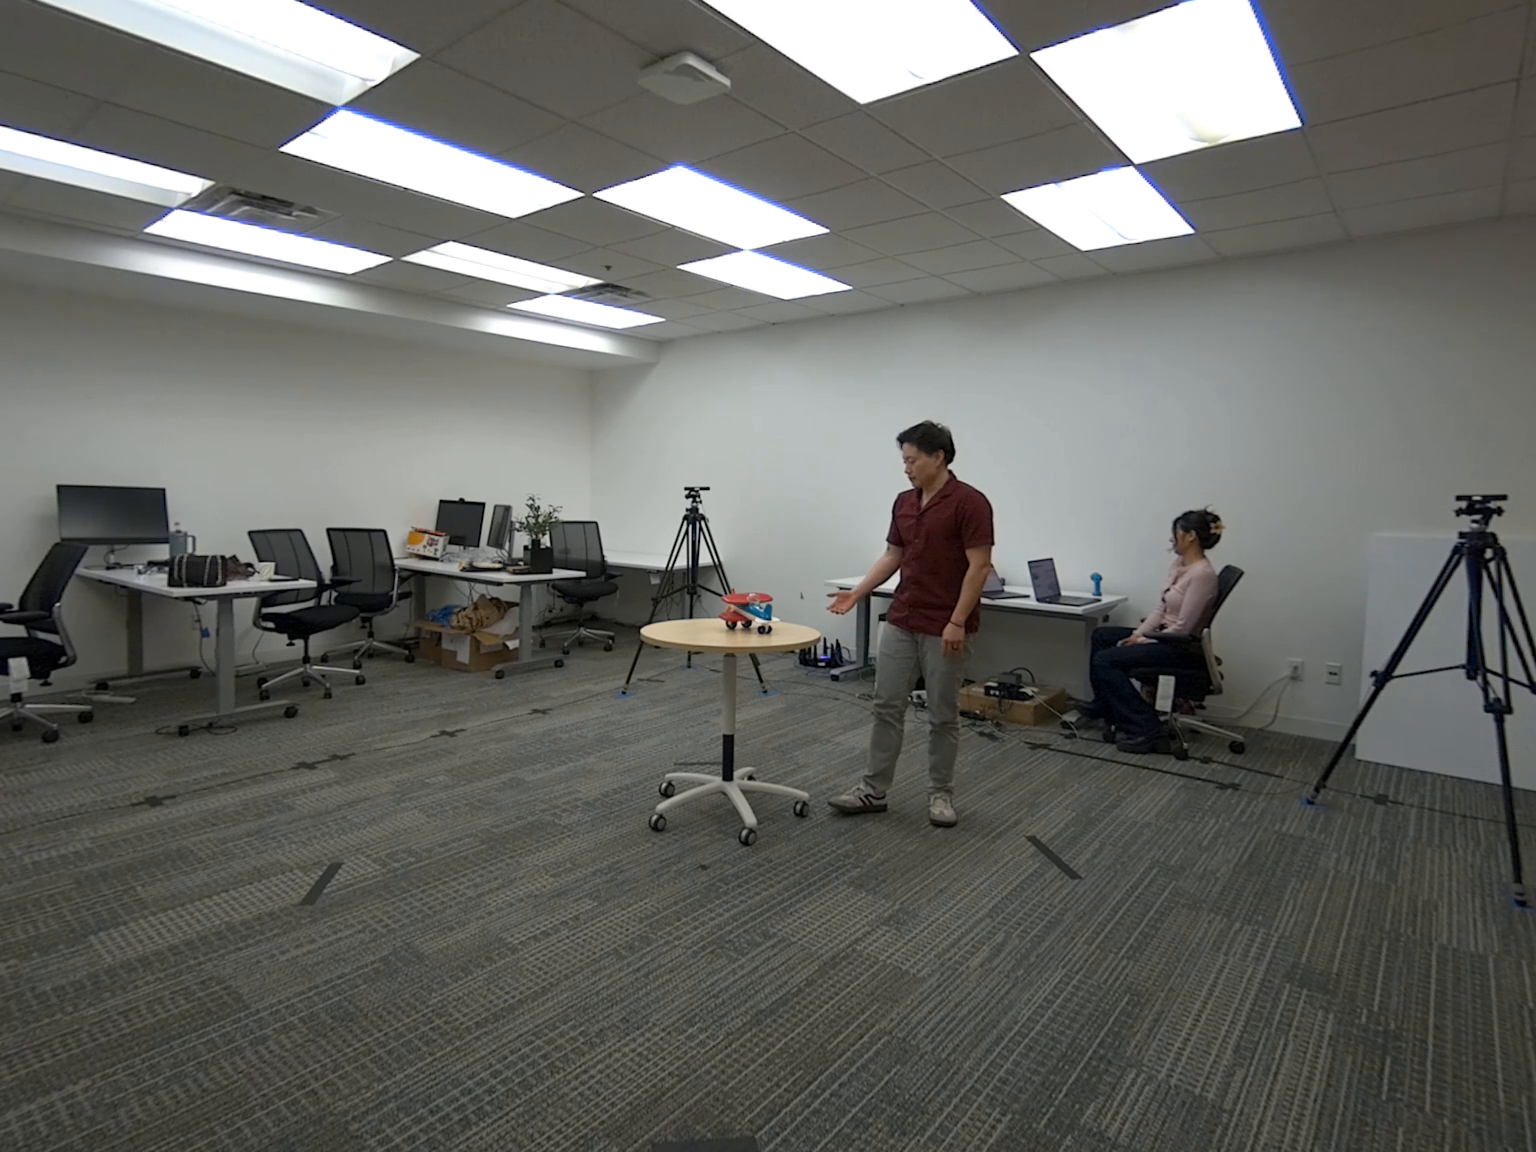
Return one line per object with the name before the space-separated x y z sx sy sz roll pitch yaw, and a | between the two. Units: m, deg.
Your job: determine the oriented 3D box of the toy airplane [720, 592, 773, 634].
toy airplane | -0.072 0.152 3.663 0.266 0.156 0.245 2 3 26
